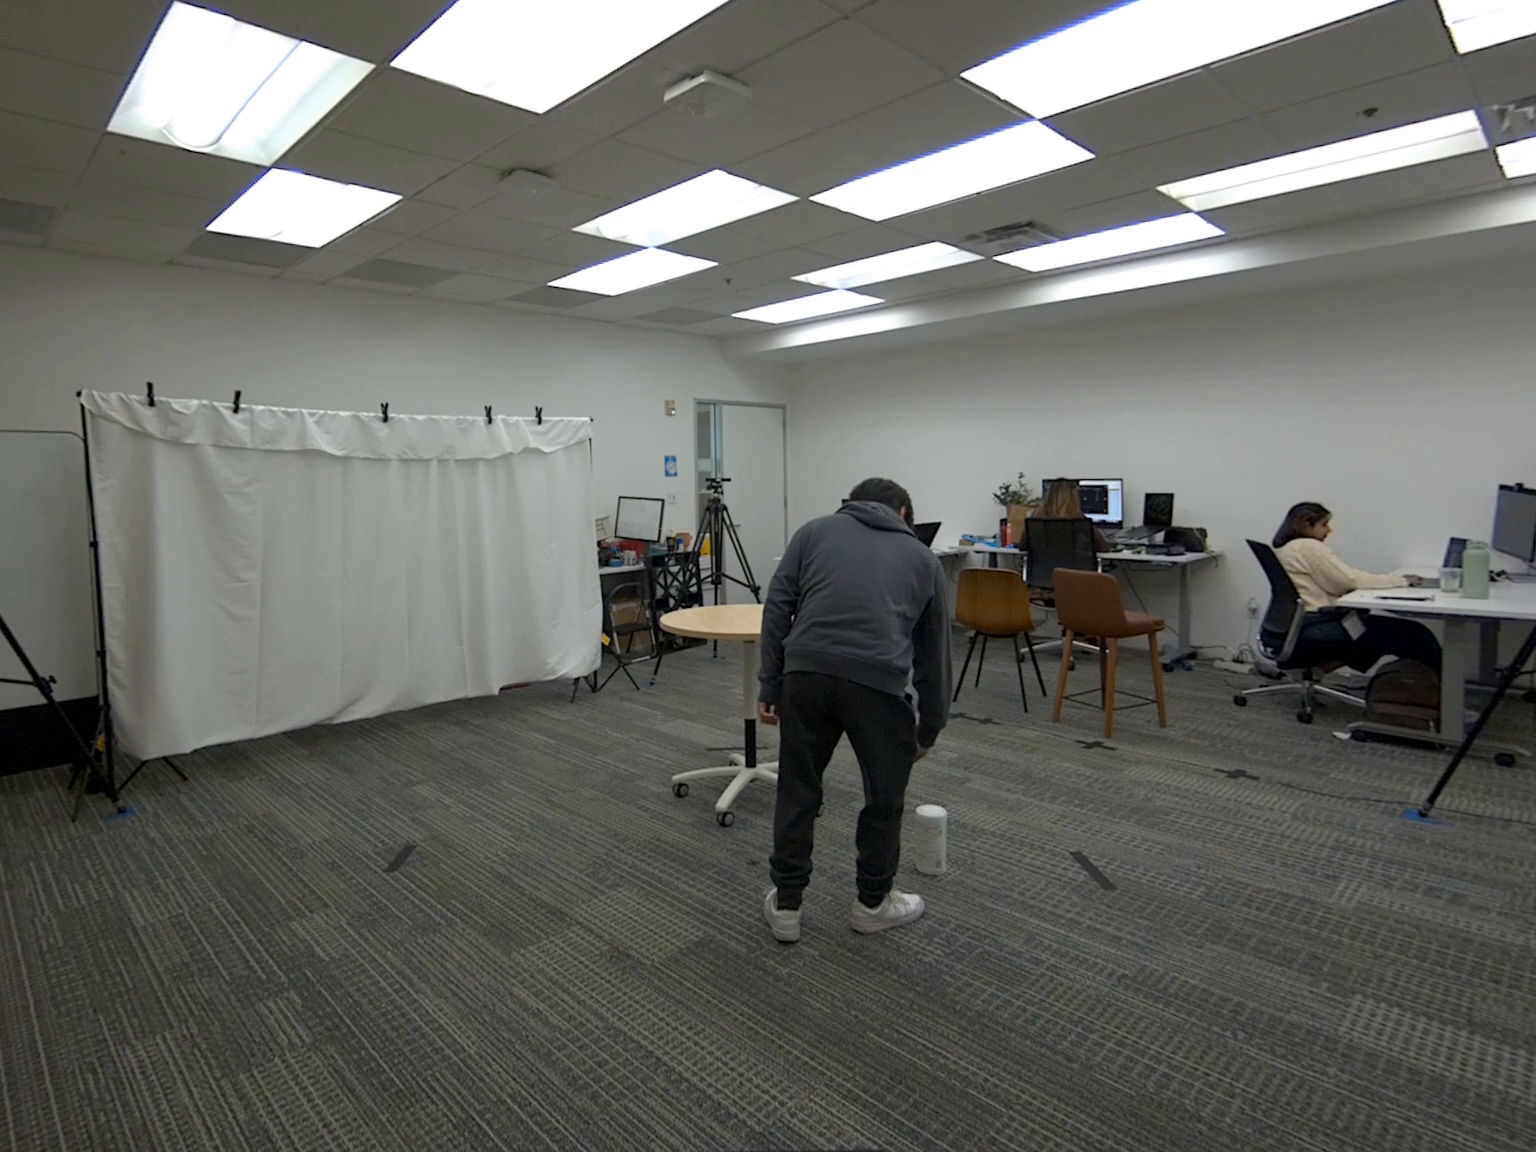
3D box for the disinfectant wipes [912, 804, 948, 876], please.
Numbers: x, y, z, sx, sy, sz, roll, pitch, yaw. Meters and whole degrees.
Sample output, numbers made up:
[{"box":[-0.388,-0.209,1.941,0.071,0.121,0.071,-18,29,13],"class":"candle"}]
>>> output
[{"box":[0.584,0.933,3.022,0.118,0.216,0.118,0,5,-2],"class":"disinfectant wipes"}]
